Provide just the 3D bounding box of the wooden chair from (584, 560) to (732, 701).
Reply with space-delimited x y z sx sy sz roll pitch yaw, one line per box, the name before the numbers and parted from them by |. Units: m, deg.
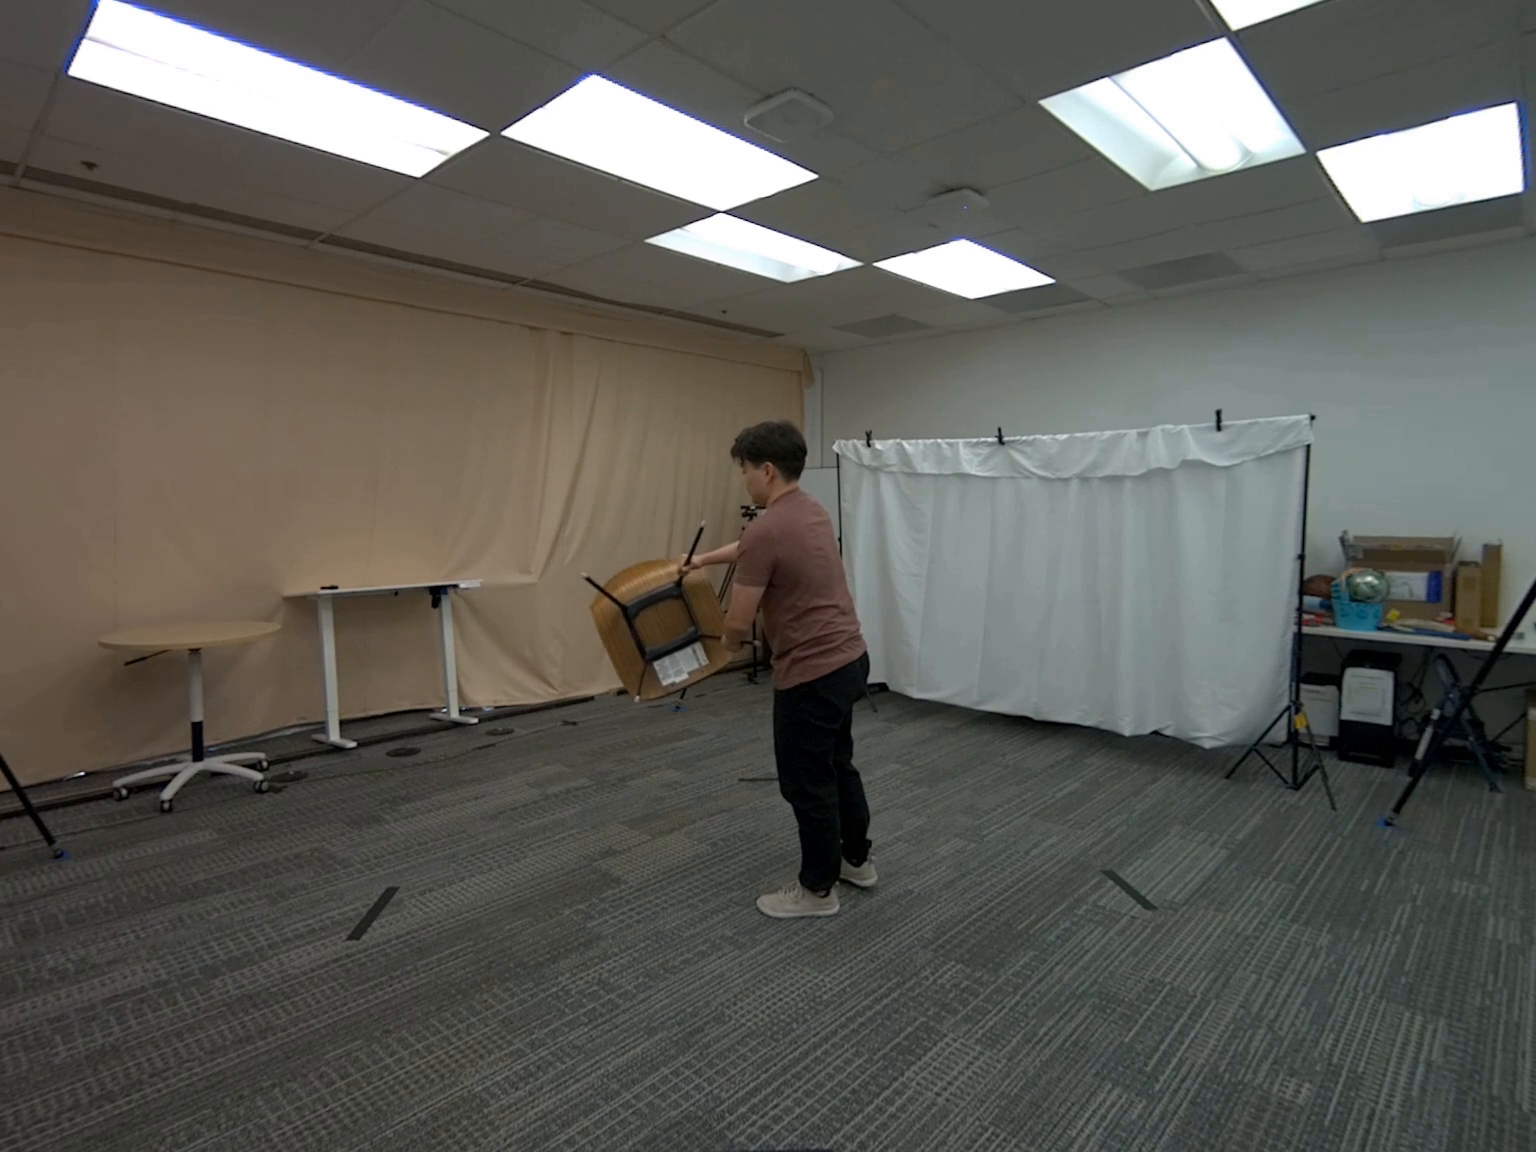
wooden chair | -0.393 0.181 3.184 0.474 0.523 0.884 -25 1 -13
